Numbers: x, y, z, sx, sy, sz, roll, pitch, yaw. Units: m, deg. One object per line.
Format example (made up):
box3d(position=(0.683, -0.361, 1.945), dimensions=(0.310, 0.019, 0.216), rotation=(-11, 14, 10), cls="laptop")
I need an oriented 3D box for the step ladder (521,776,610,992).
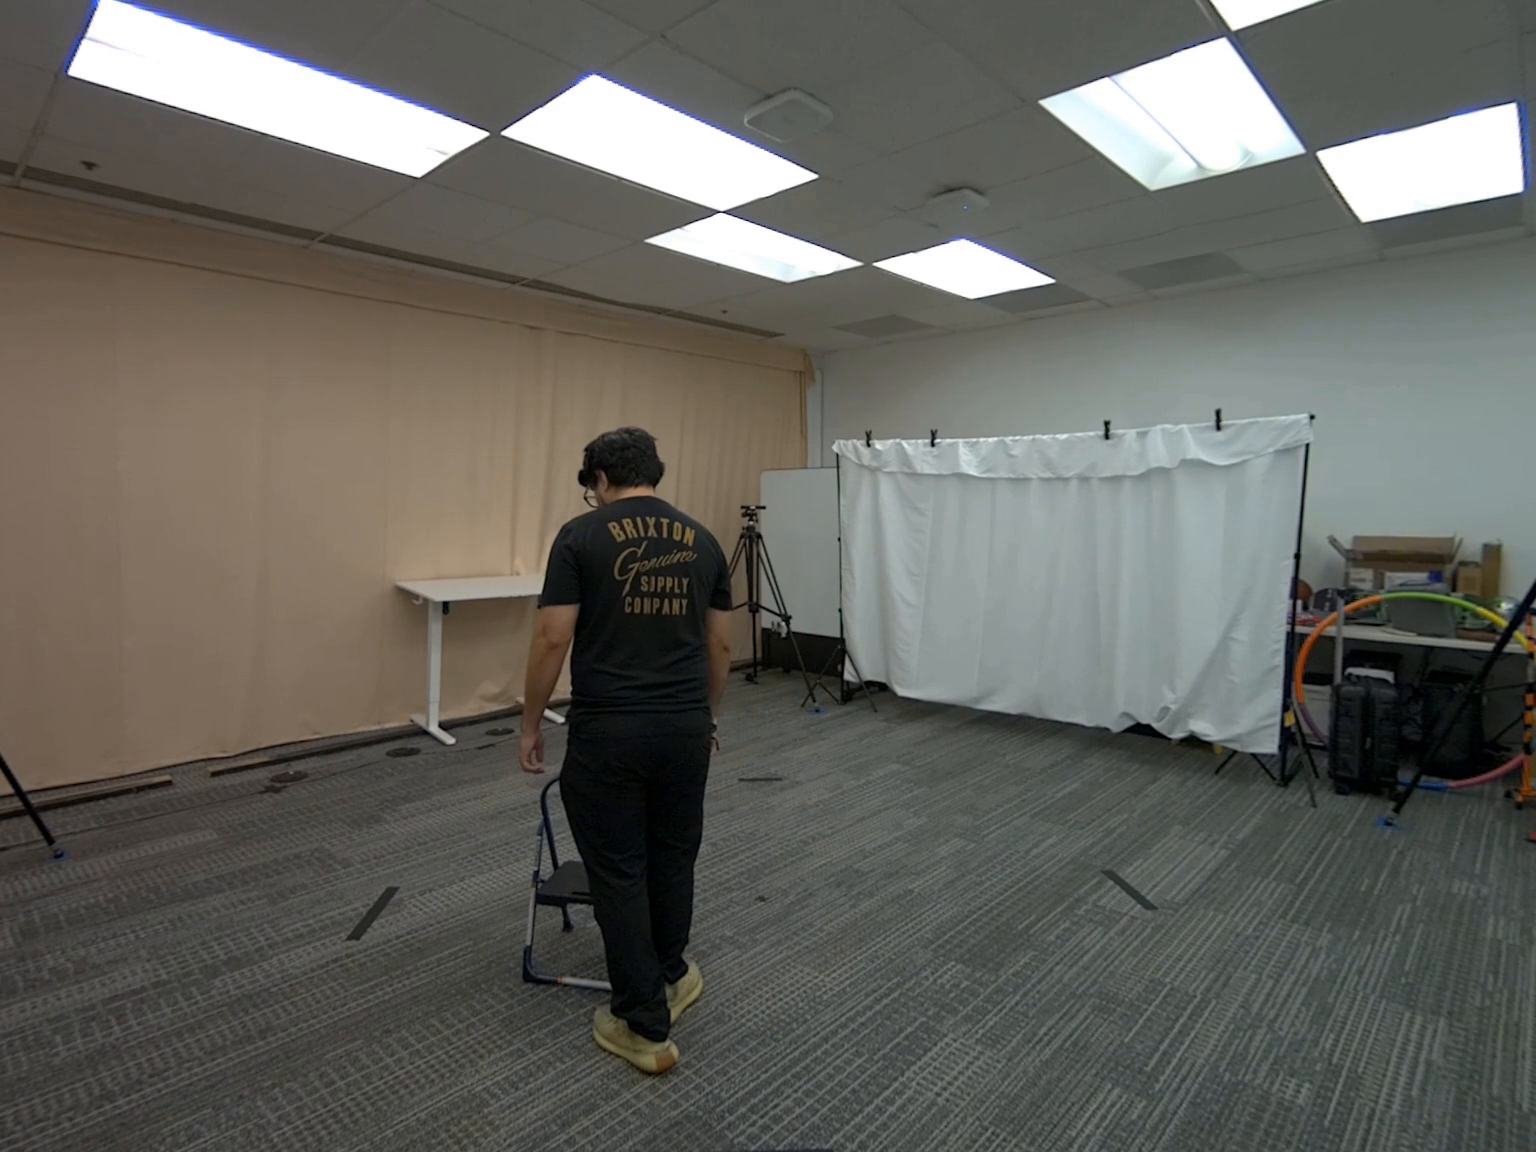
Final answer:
box3d(position=(-0.499, 0.883, 2.564), dimensions=(0.436, 0.605, 0.346), rotation=(0, 3, 10), cls="step ladder")
